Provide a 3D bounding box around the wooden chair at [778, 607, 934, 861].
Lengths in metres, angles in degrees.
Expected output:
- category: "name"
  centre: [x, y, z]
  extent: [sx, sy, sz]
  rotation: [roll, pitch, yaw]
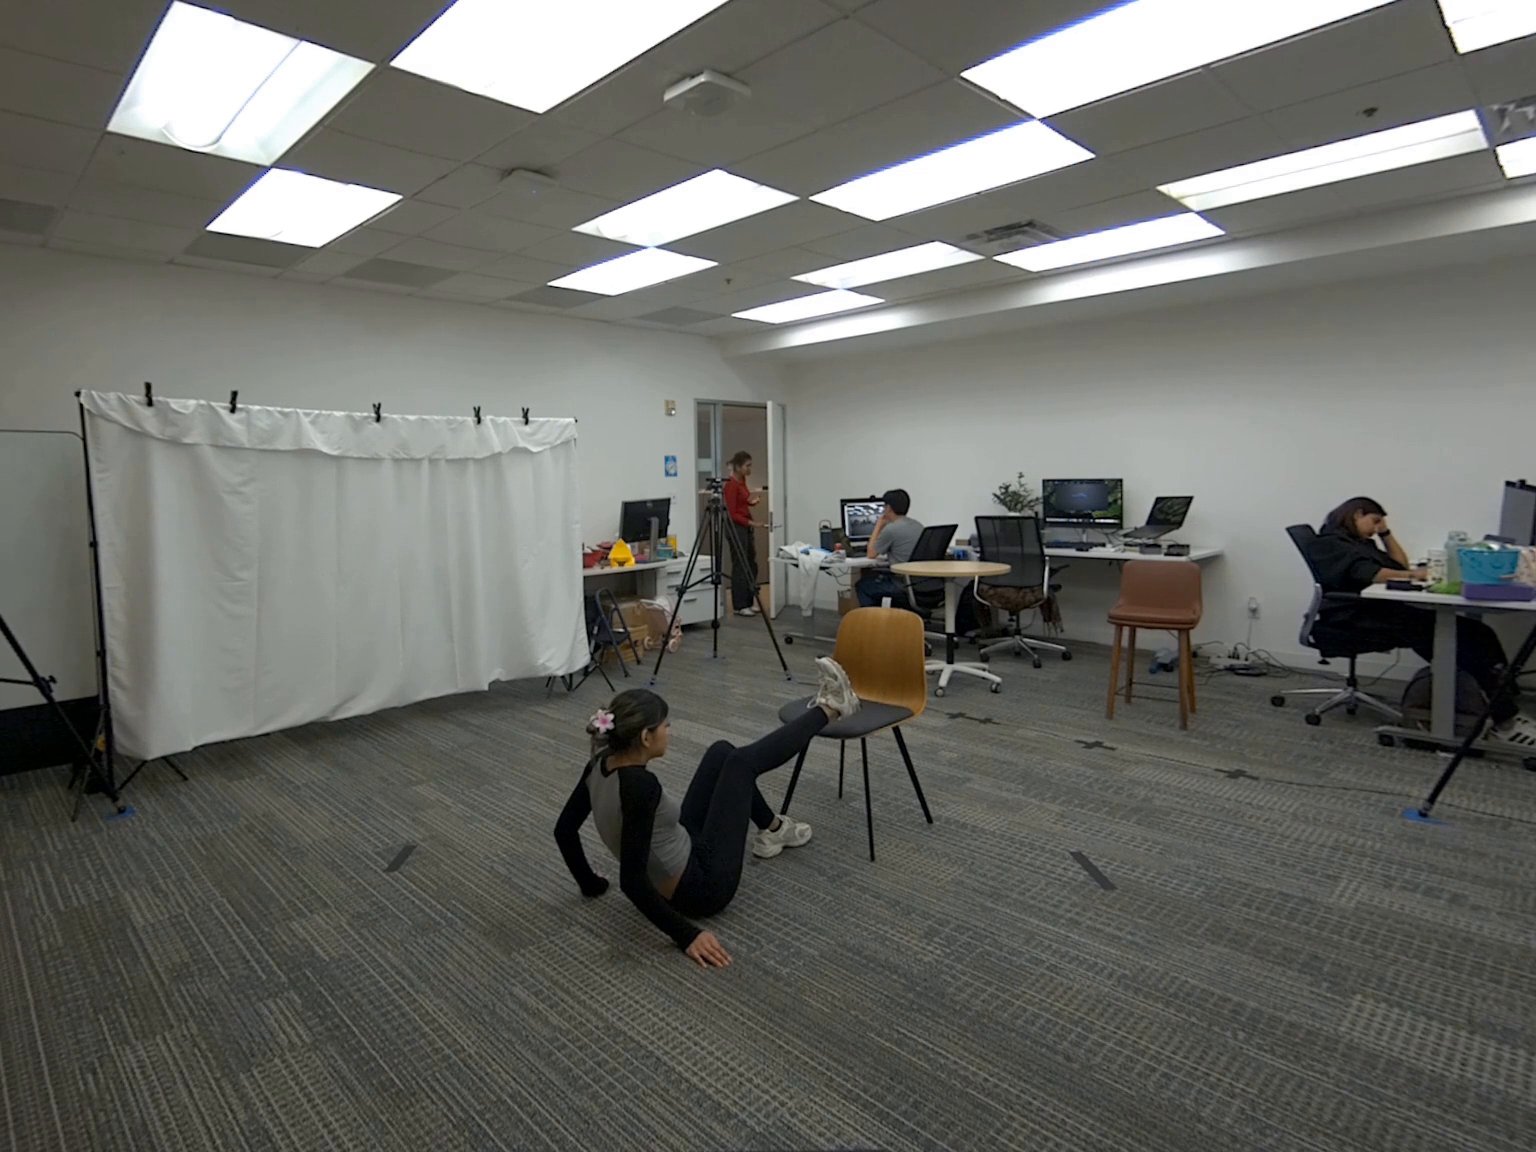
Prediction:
- category: "wooden chair"
  centre: [0.336, 0.575, 3.375]
  extent: [0.492, 0.877, 0.508]
  rotation: [3, 1, 40]
